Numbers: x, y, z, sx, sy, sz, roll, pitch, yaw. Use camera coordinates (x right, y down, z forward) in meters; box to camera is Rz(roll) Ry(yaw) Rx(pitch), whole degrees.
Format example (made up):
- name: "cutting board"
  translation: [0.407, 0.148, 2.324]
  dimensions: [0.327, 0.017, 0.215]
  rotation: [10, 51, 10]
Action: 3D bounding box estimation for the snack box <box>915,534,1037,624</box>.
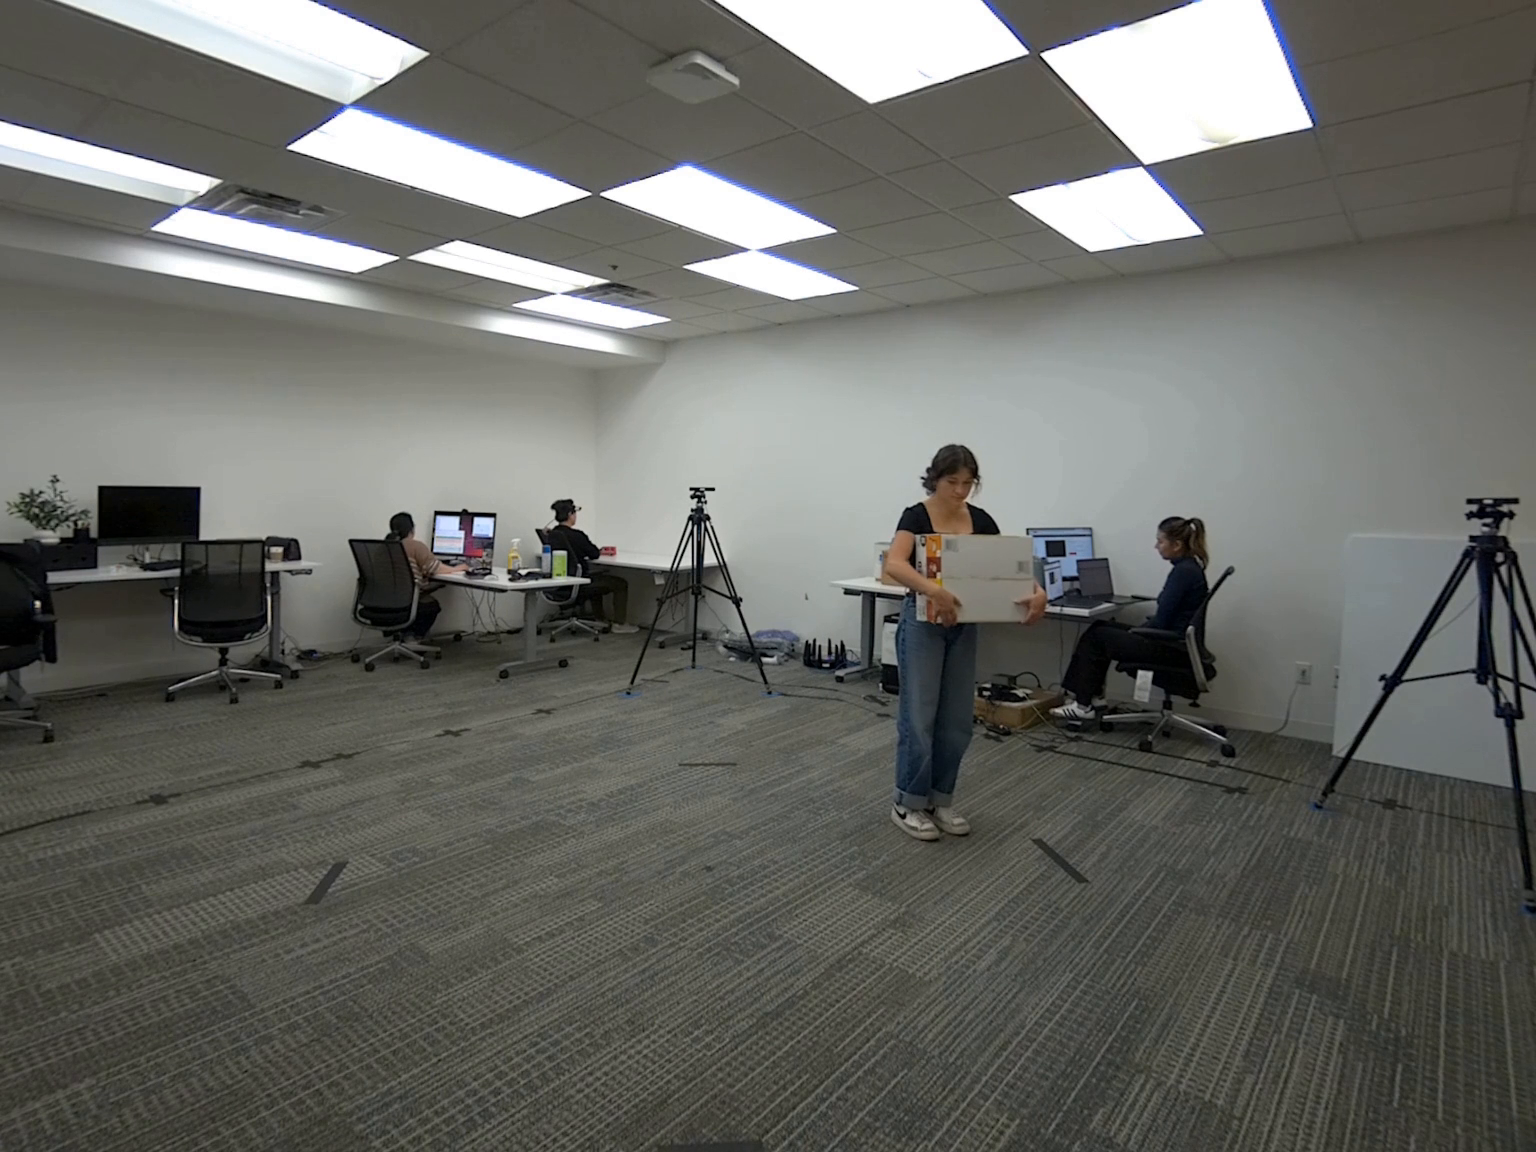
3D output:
- name: "snack box"
  translation: [0.812, 0.005, 3.349]
  dimensions: [0.400, 0.341, 0.208]
  rotation: [1, -1, -12]
